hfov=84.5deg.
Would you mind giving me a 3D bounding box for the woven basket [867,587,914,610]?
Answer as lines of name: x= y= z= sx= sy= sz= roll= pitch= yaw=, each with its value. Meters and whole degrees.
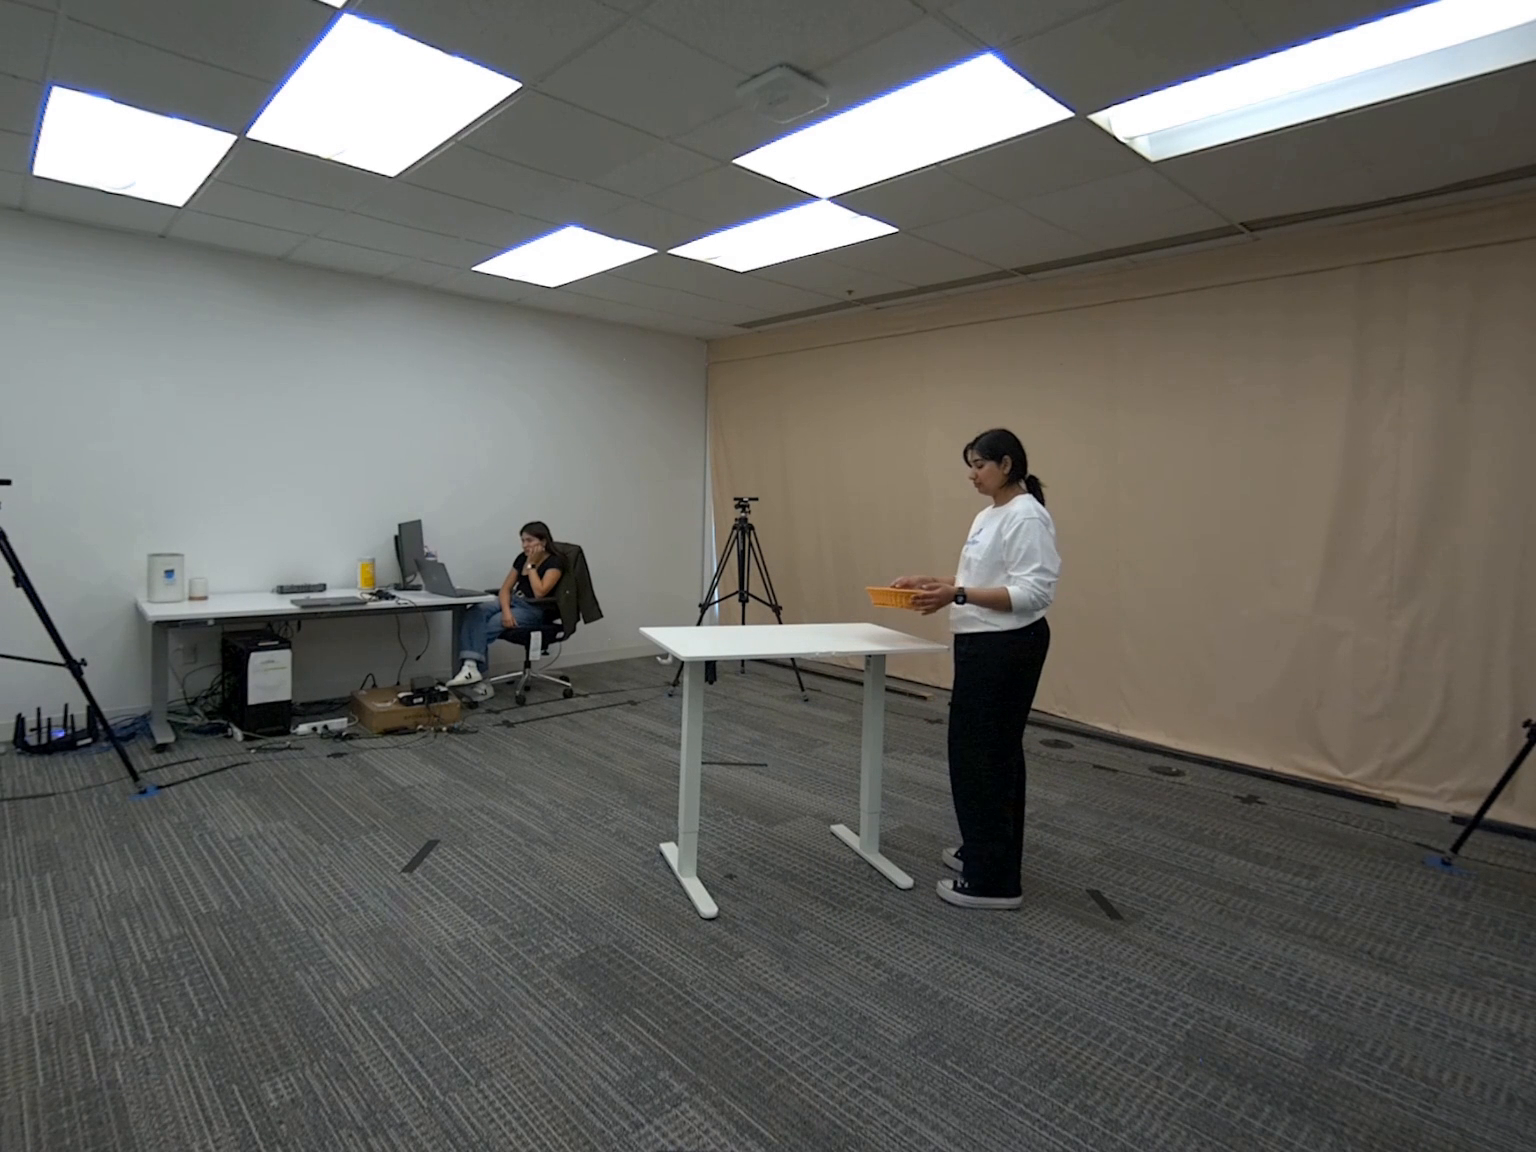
woven basket: x=0.535 y=0.090 z=3.132 sx=0.247 sy=0.073 sz=0.358 roll=3 pitch=0 yaw=-32
